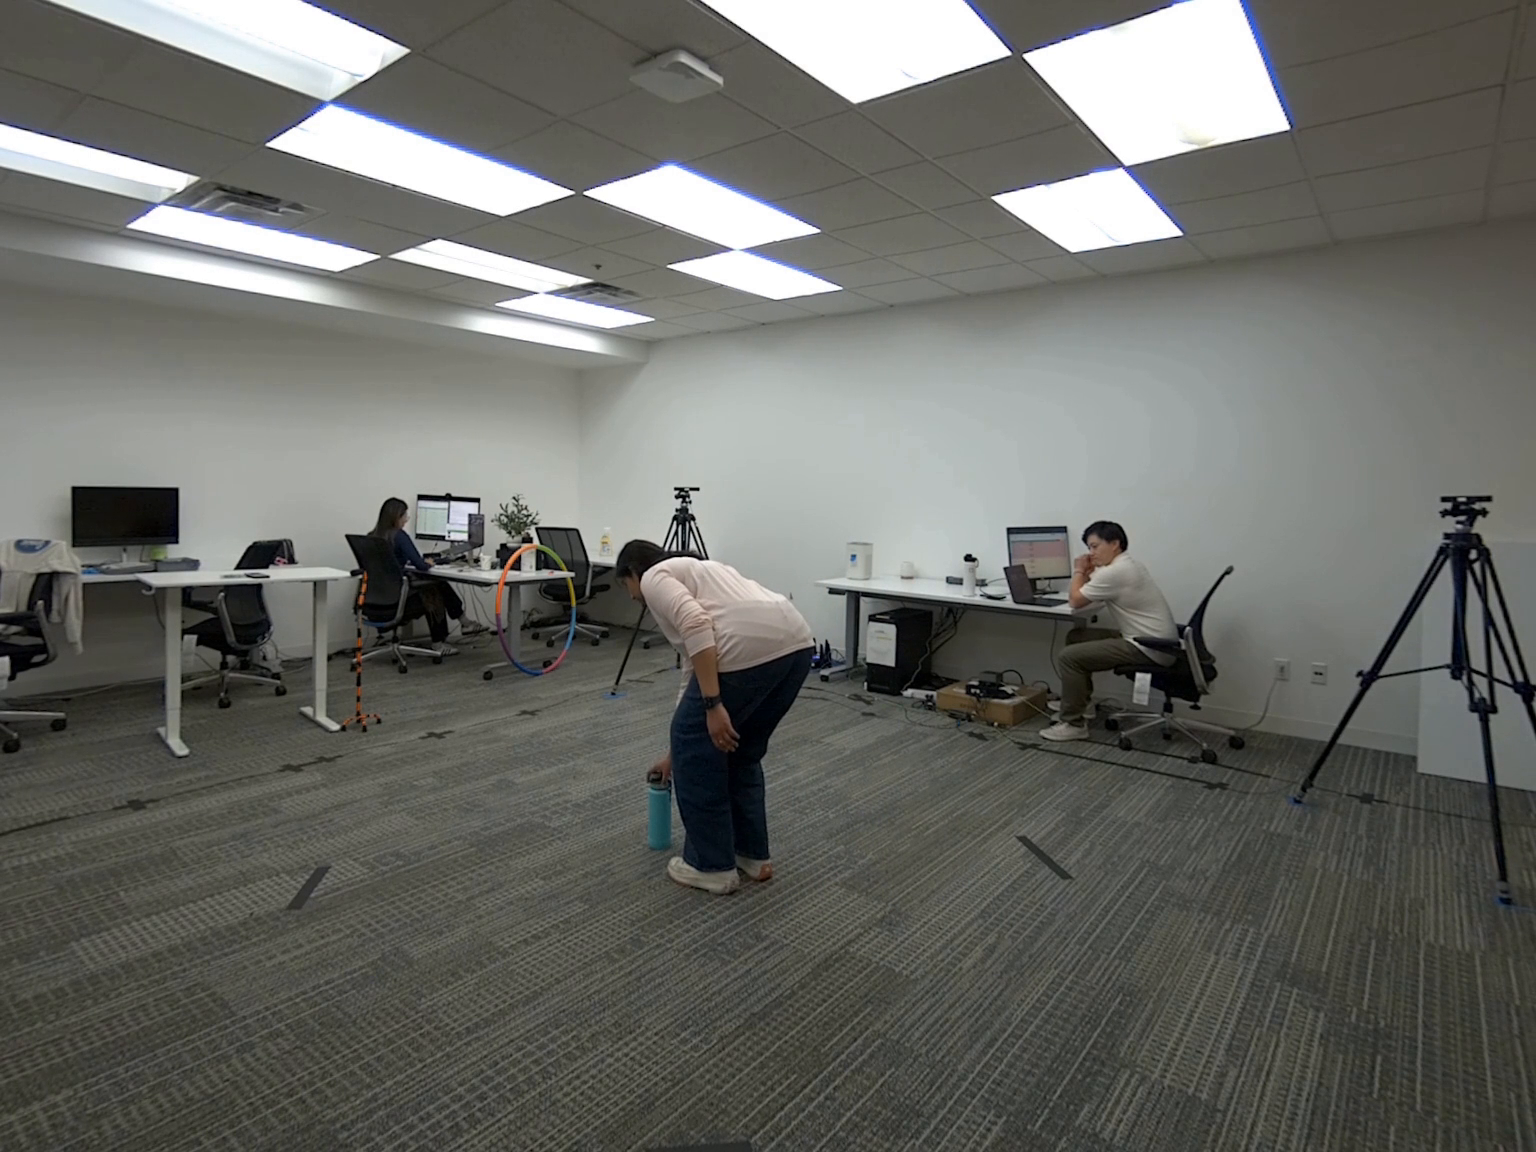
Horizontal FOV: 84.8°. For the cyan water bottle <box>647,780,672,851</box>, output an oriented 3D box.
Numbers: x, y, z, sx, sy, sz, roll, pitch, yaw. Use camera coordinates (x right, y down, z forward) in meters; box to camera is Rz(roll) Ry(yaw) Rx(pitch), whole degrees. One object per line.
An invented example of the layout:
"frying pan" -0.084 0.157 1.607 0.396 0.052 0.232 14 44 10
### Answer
"cyan water bottle" -0.431 0.905 3.303 0.092 0.282 0.093 1 4 -2
